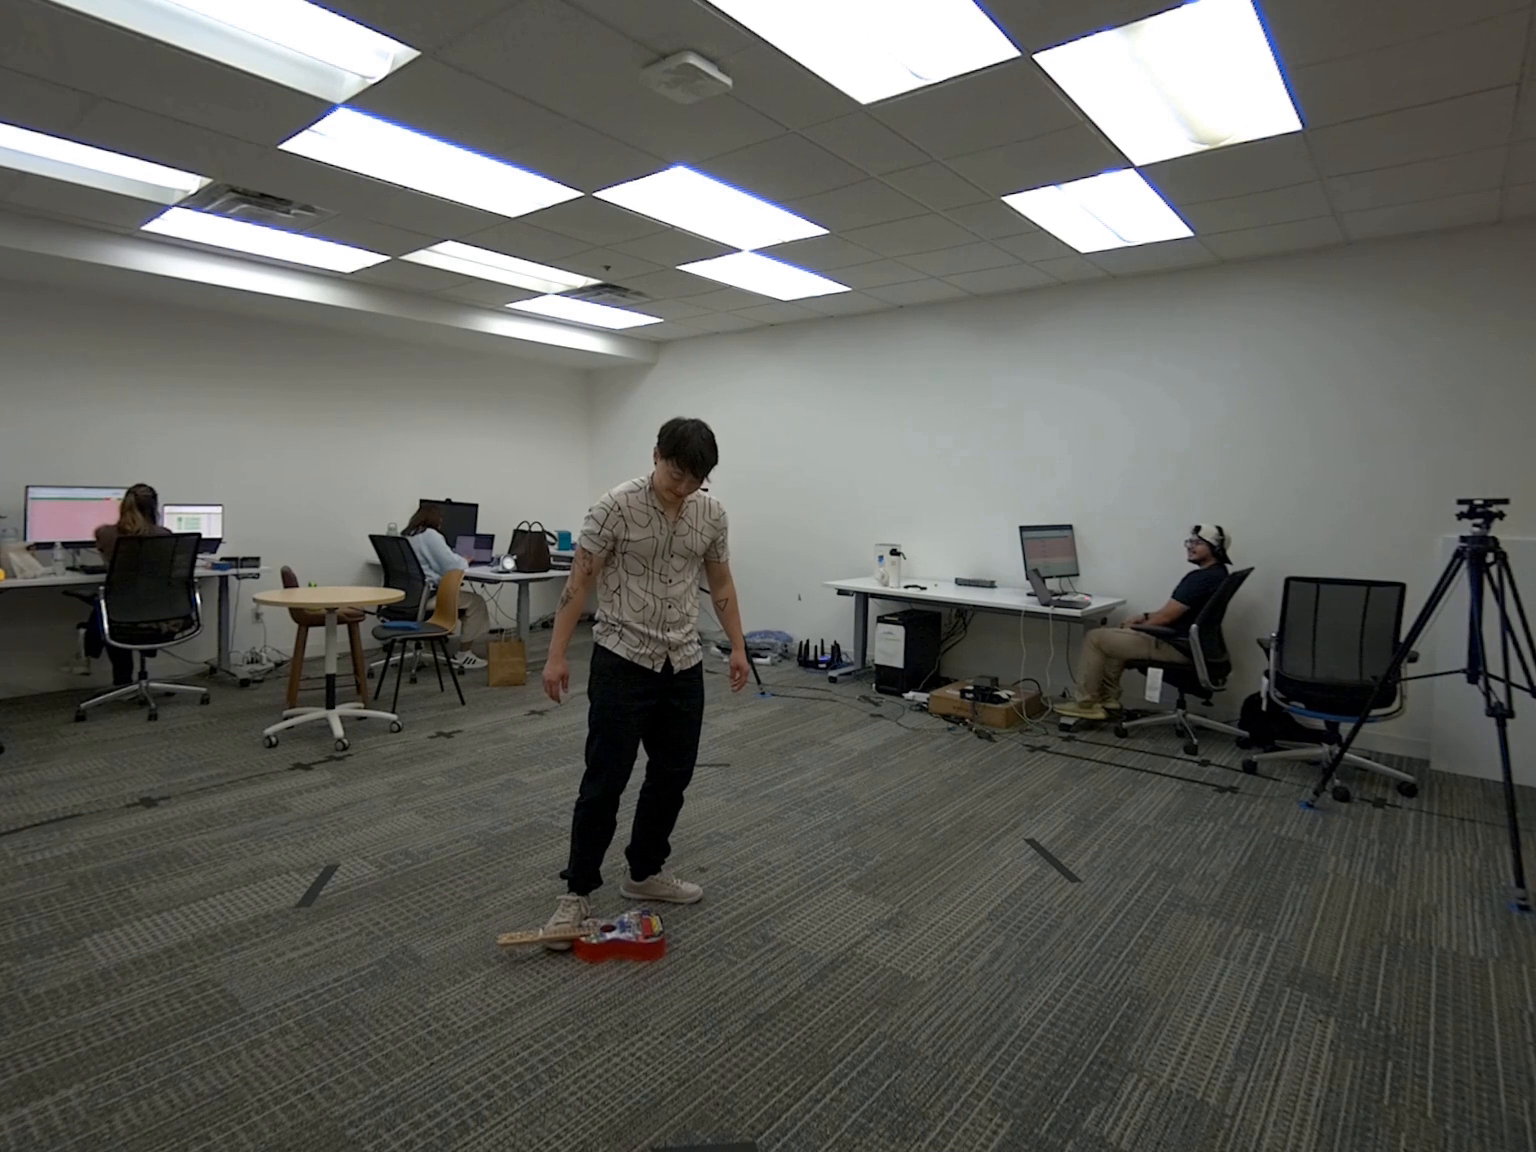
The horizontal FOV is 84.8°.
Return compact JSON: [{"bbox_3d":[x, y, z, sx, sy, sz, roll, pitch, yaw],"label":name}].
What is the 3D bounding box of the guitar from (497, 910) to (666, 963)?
[{"bbox_3d":[-0.563,1.081,2.571,0.495,0.070,0.195,1,7,-5],"label":"guitar"}]
